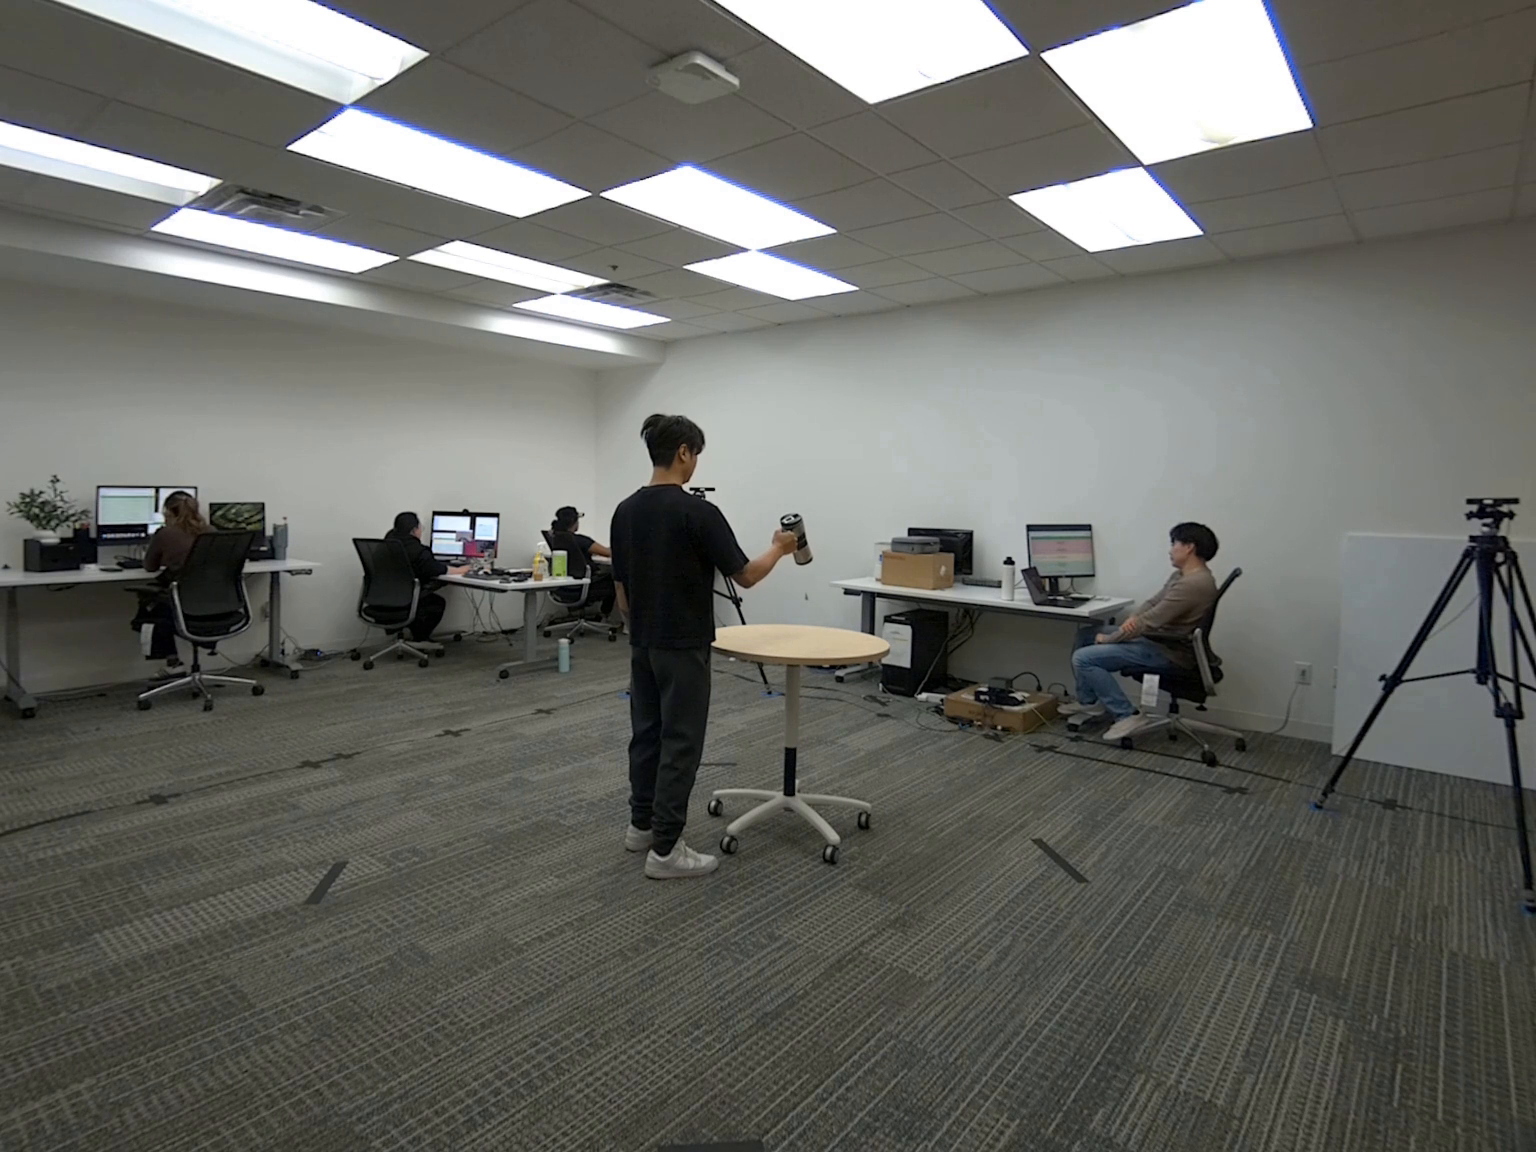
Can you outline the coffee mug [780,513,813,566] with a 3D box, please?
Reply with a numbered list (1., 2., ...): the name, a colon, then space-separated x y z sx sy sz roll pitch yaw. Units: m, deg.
1. coffee mug: 0.092 -0.136 3.348 0.121 0.197 0.091 -26 25 -17
